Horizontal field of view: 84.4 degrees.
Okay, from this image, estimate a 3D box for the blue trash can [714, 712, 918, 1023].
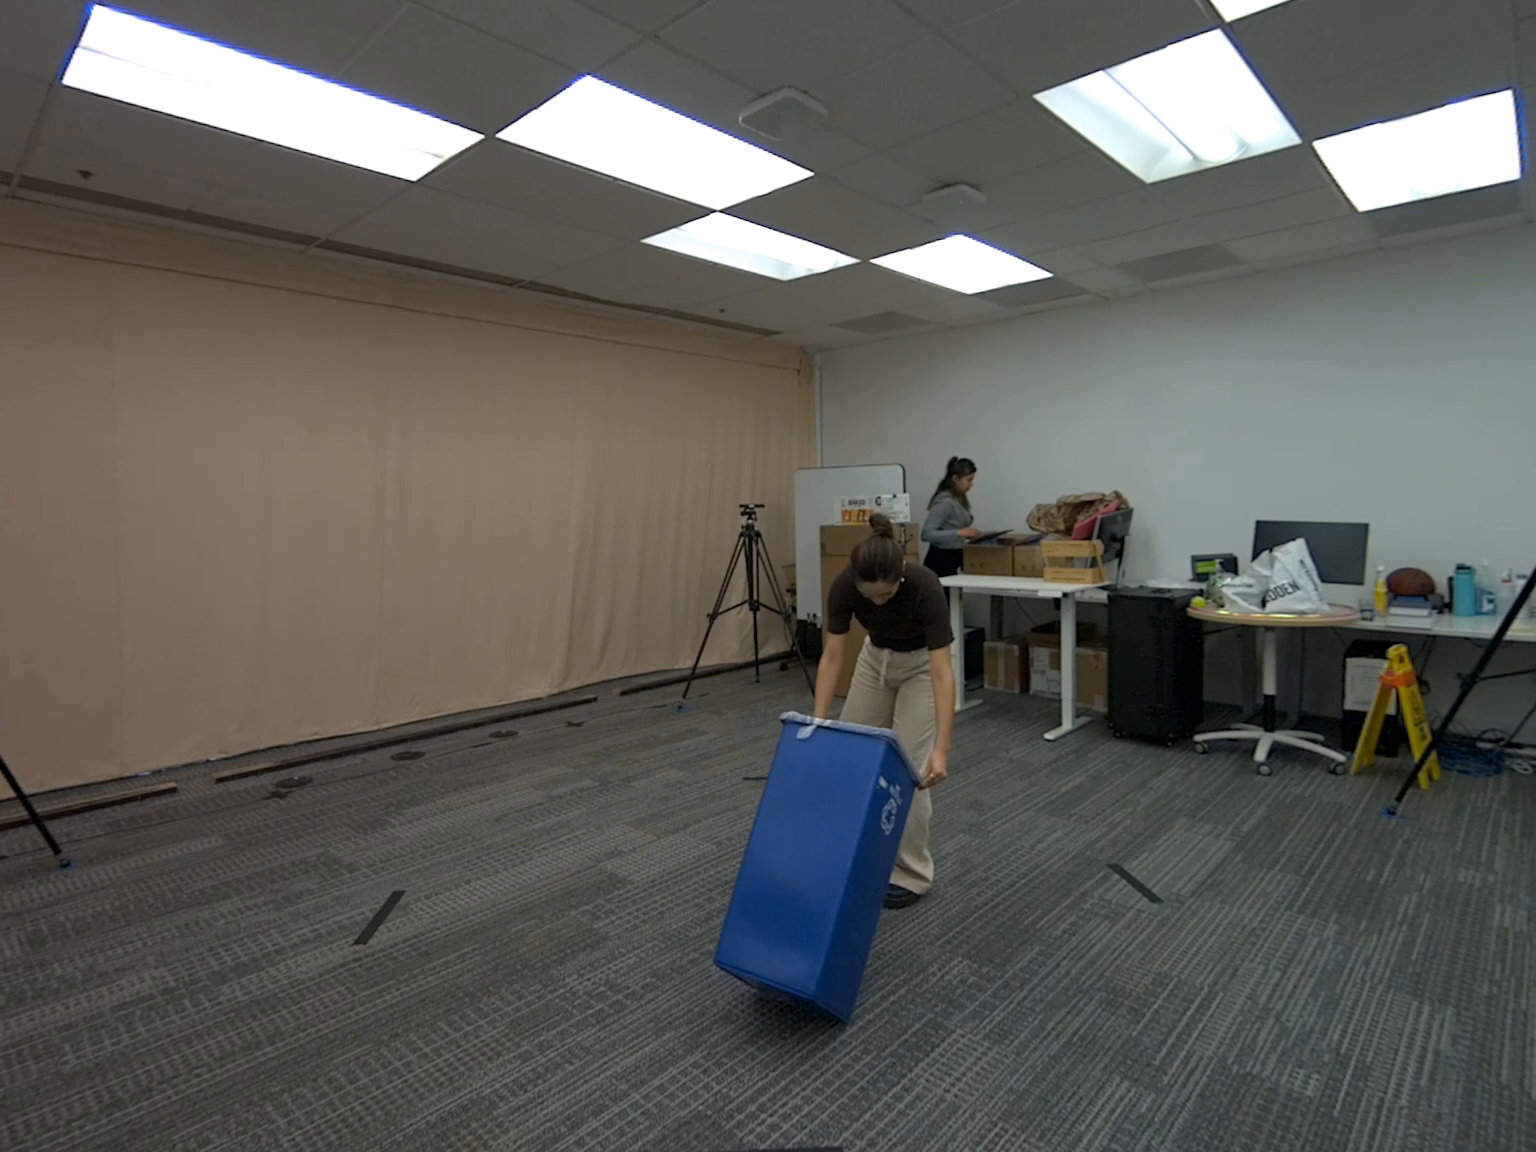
[{"bbox_3d":[0.145,0.813,2.421,0.389,0.716,0.361,4,-32,30],"label":"blue trash can"}]
